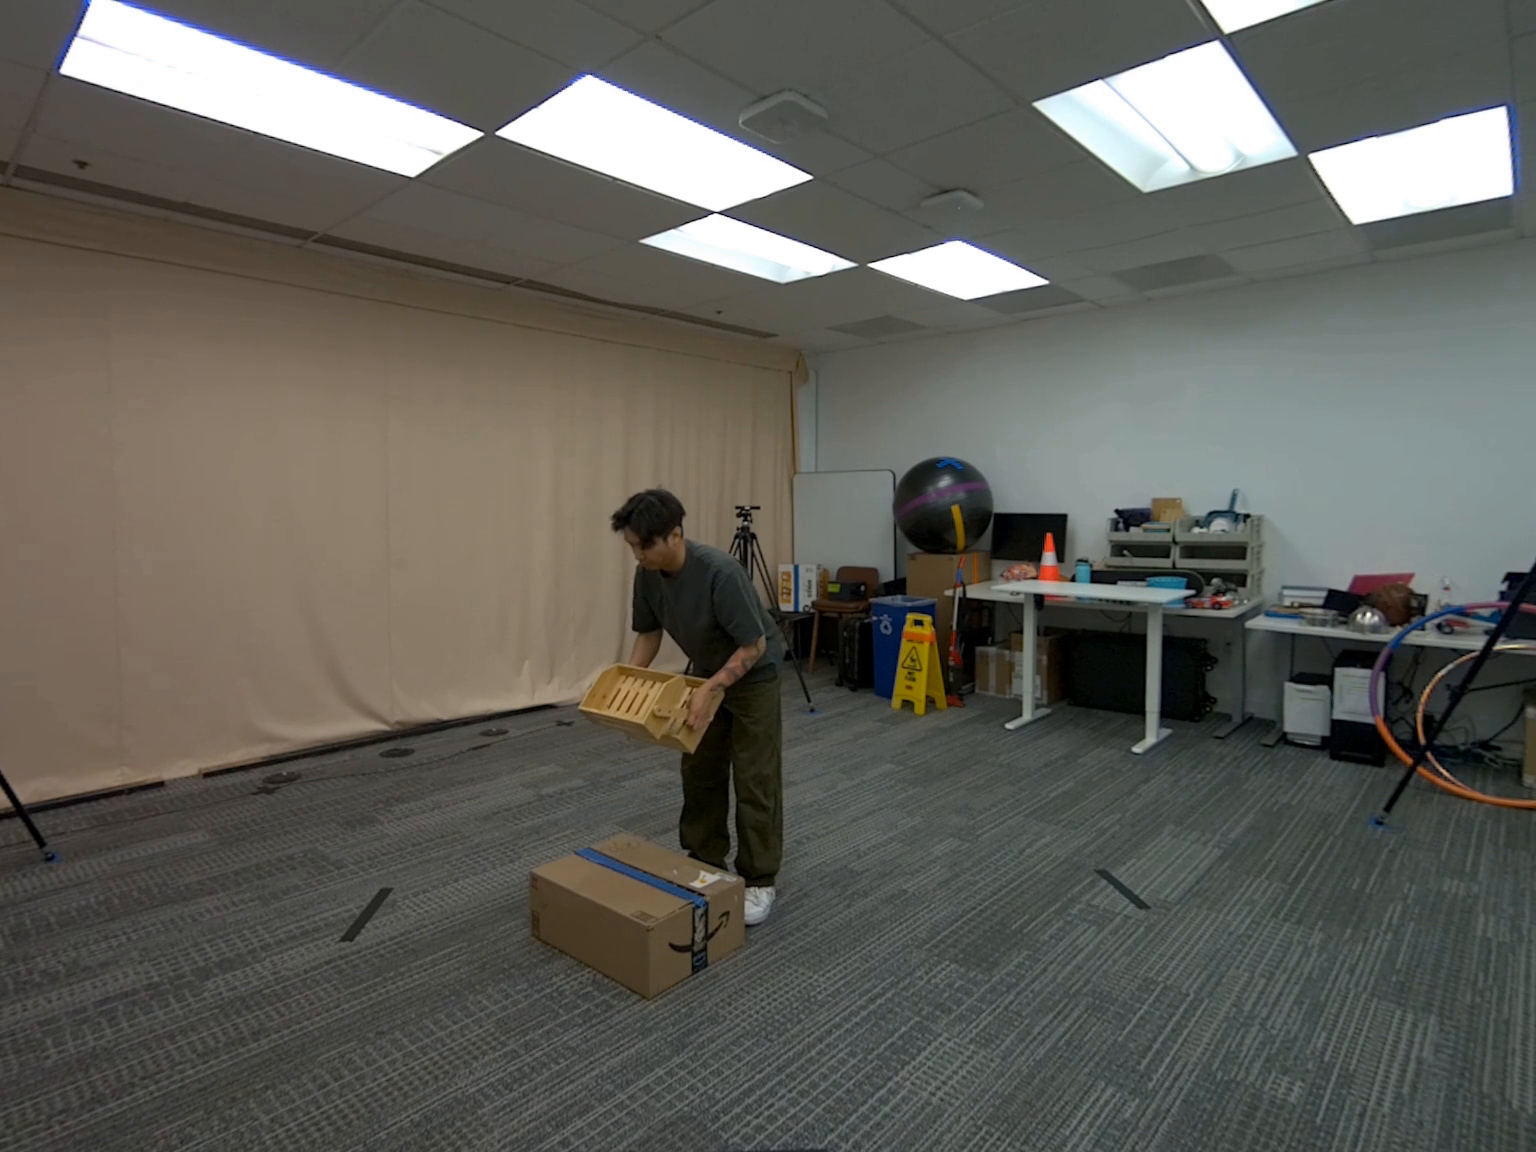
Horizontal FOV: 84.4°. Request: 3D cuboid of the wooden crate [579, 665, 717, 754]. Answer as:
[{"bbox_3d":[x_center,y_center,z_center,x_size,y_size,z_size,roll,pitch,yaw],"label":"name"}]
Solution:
[{"bbox_3d":[-0.381,0.400,2.757,0.335,0.302,0.264,3,-37,38],"label":"wooden crate"}]
